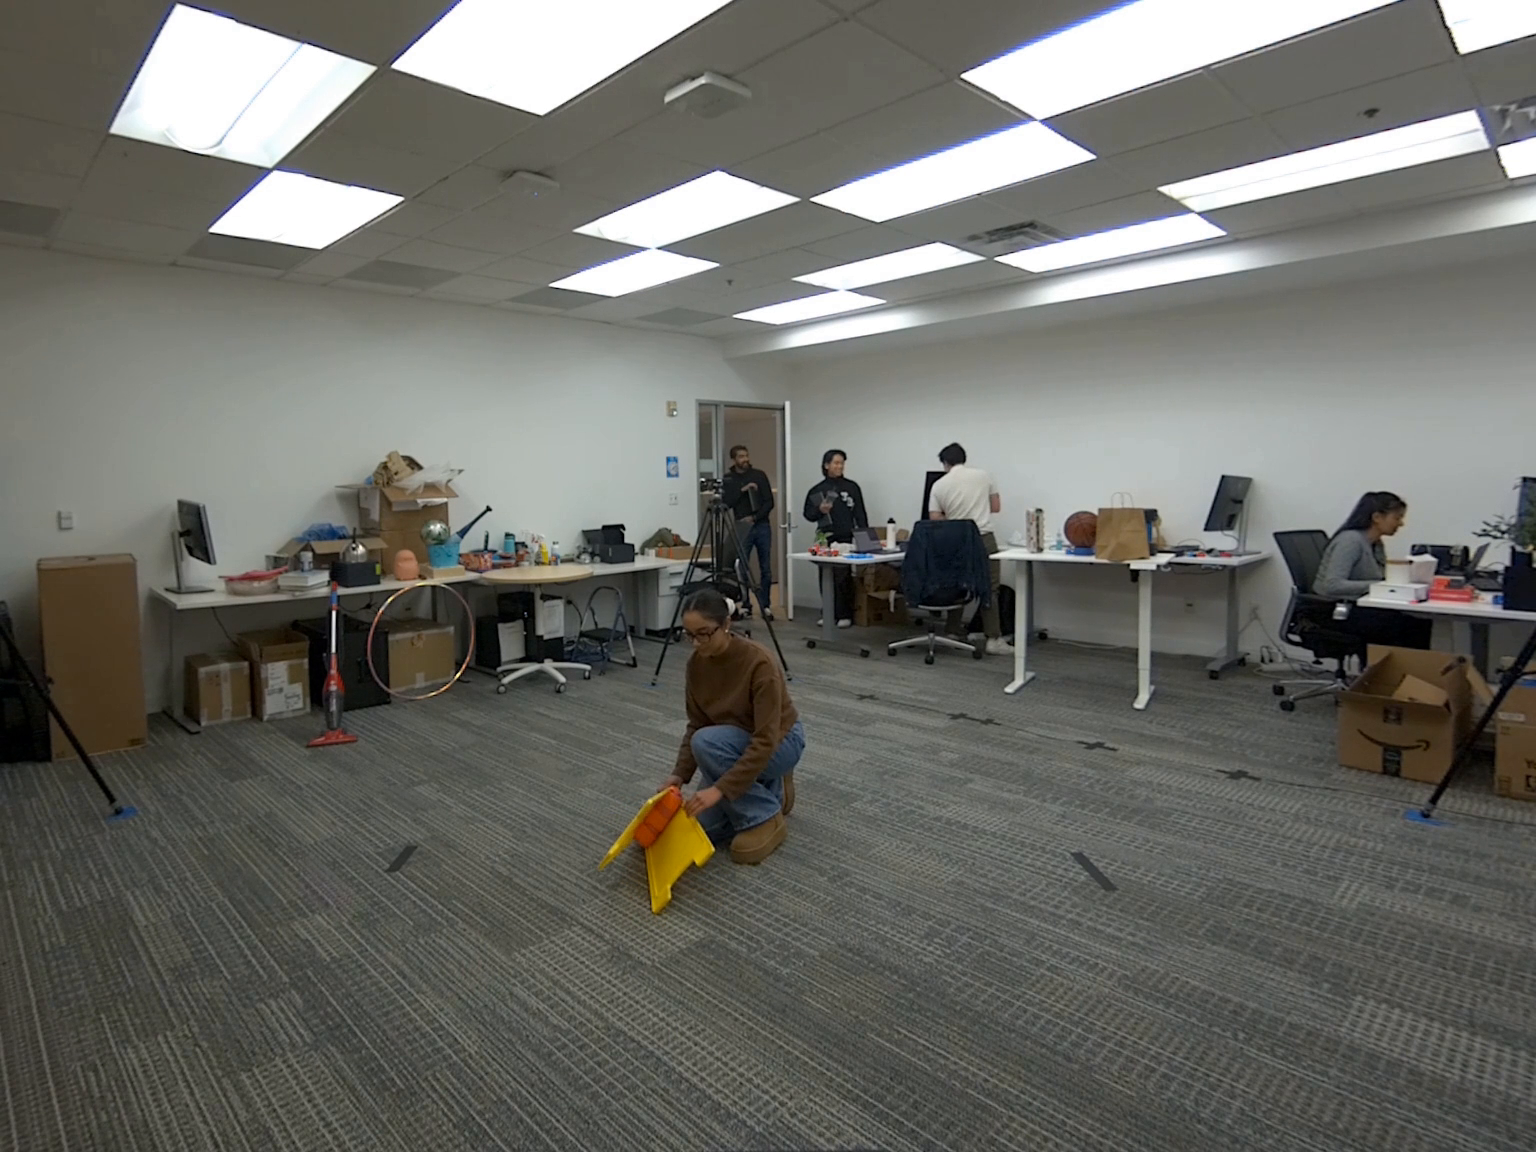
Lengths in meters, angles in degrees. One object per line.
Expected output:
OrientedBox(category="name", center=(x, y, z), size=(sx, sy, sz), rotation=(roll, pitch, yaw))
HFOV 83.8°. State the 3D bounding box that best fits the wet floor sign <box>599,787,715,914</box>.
OrientedBox(category="wet floor sign", center=(-0.393, 0.920, 3.081), size=(0.289, 0.282, 0.647), rotation=(39, -4, -3))
